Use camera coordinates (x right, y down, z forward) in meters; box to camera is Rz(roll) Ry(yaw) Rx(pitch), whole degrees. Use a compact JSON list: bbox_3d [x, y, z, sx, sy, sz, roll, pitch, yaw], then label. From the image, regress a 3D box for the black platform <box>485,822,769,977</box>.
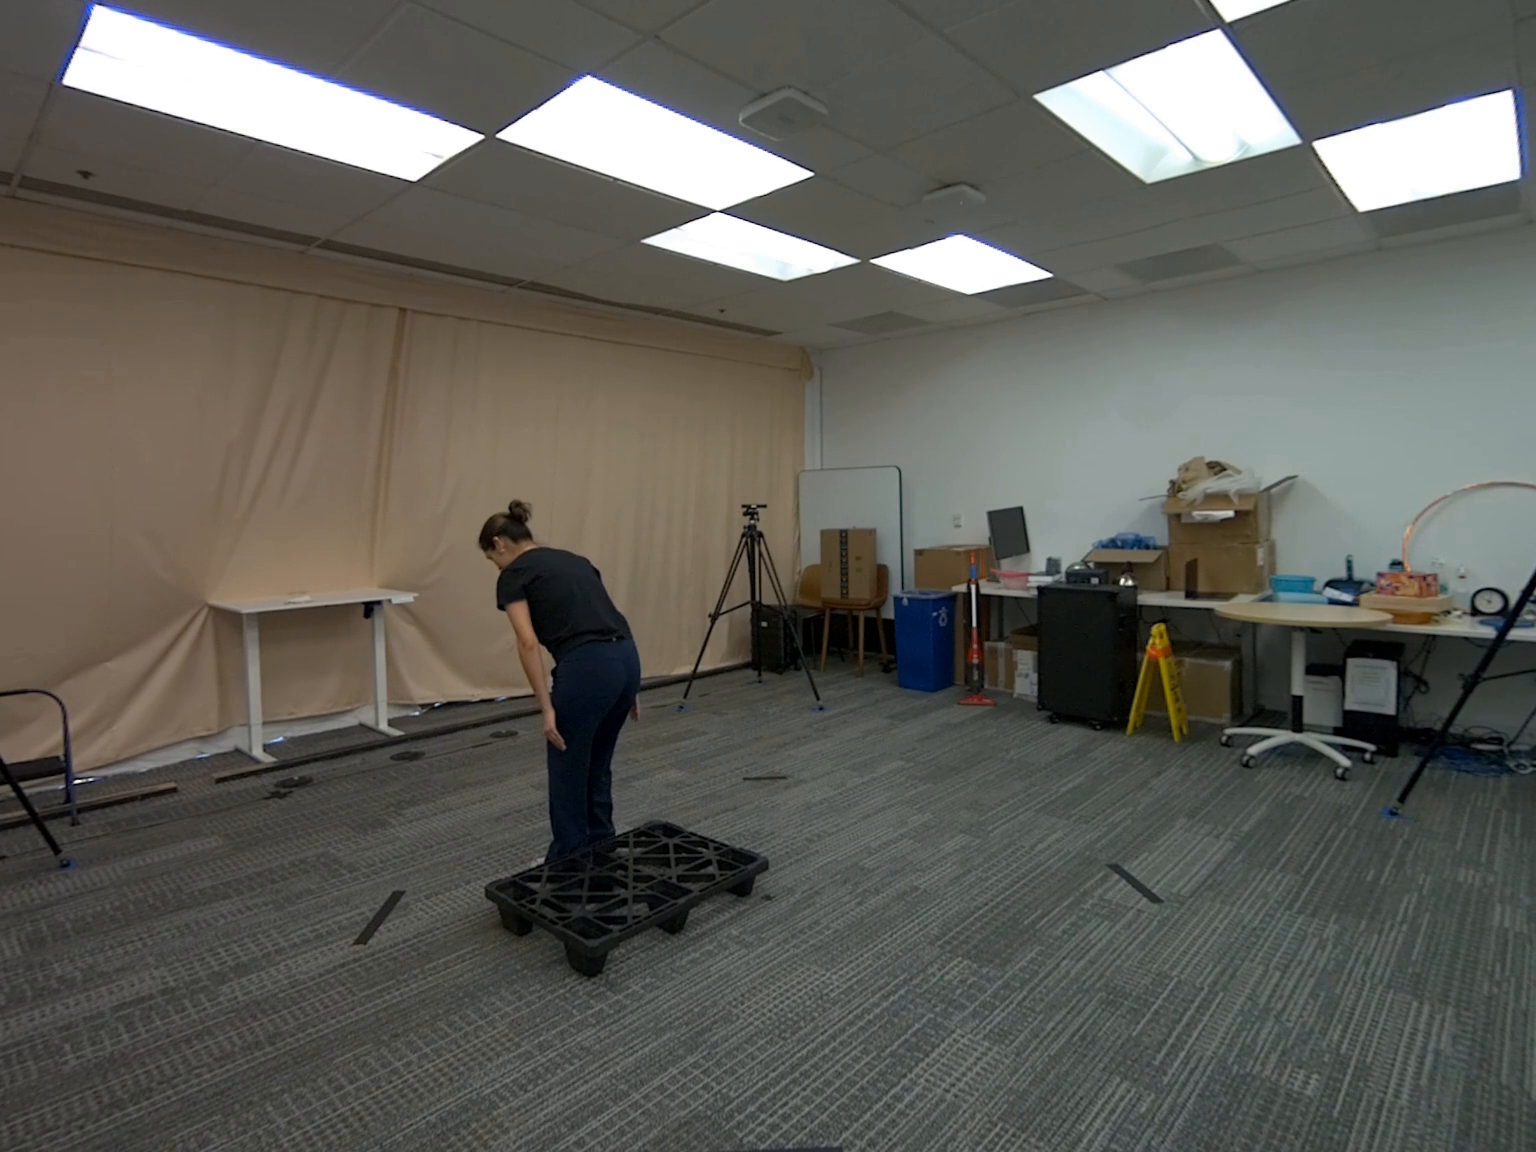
[{"bbox_3d":[-0.451,1.091,2.909,0.625,0.143,0.782,4,8,42],"label":"black platform"}]
